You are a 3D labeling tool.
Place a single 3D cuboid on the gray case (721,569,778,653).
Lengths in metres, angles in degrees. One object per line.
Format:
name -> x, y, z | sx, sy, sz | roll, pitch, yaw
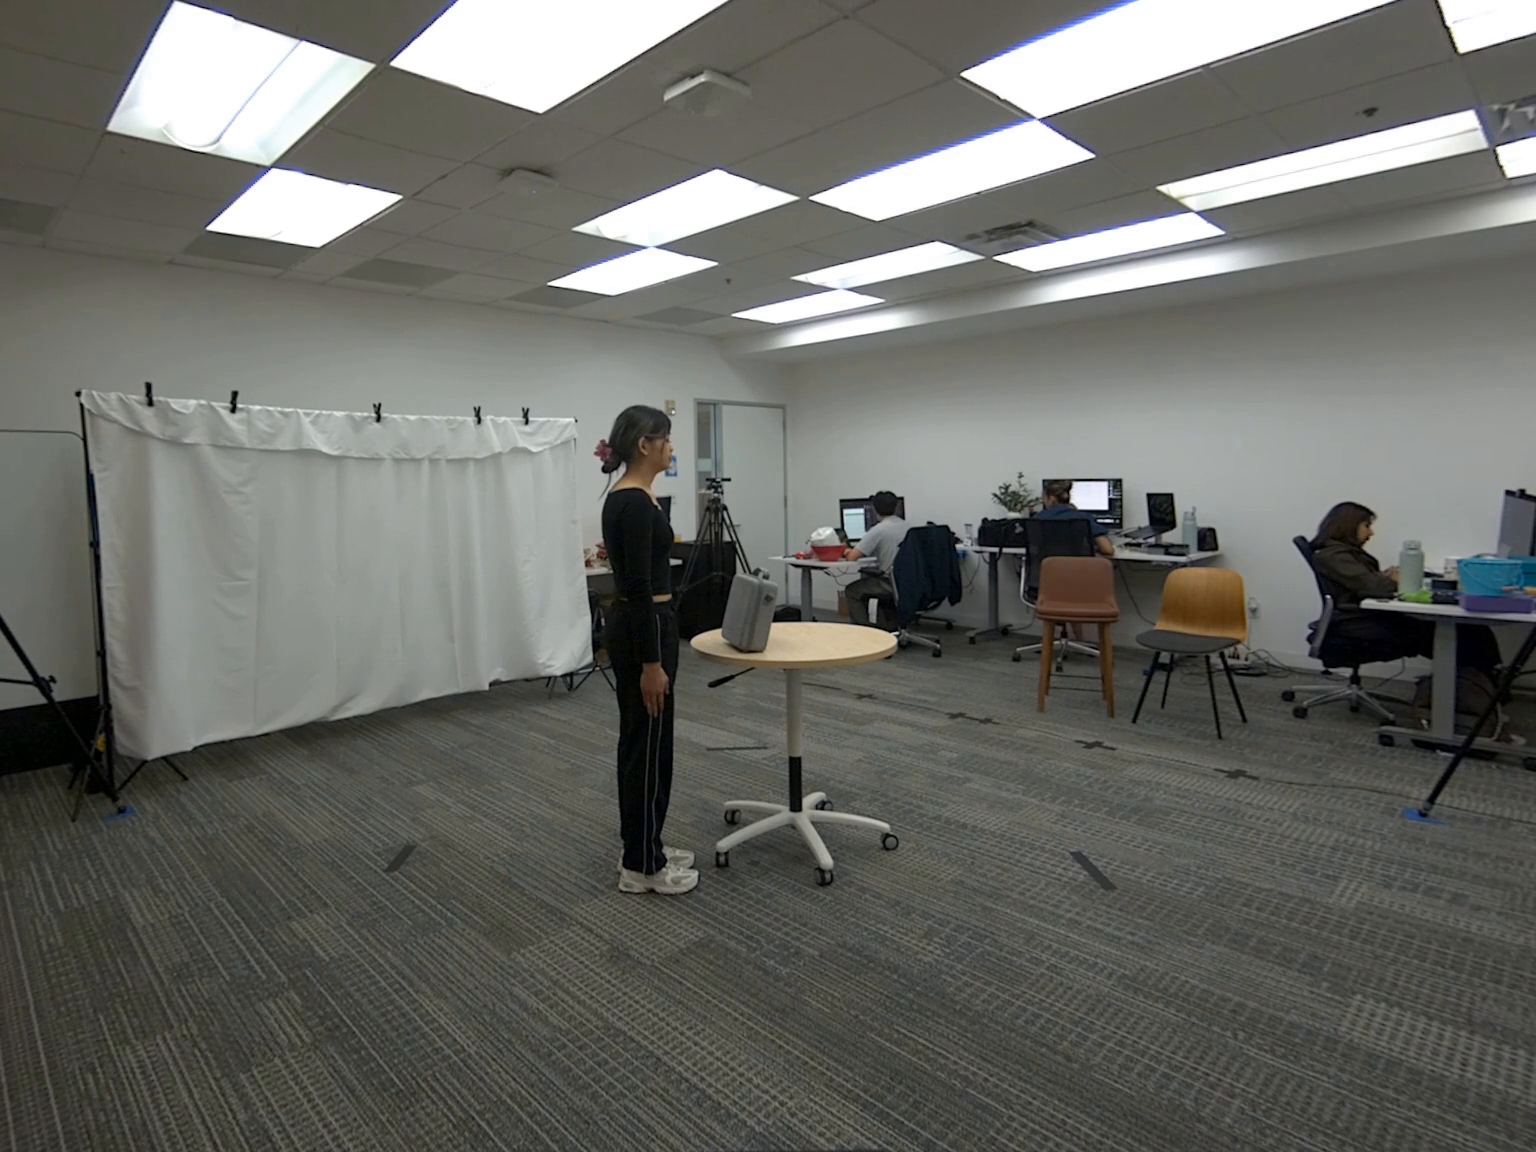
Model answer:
gray case -> -0.071, 0.124, 3.056 | 0.102, 0.260, 0.262 | 10, 2, -19
